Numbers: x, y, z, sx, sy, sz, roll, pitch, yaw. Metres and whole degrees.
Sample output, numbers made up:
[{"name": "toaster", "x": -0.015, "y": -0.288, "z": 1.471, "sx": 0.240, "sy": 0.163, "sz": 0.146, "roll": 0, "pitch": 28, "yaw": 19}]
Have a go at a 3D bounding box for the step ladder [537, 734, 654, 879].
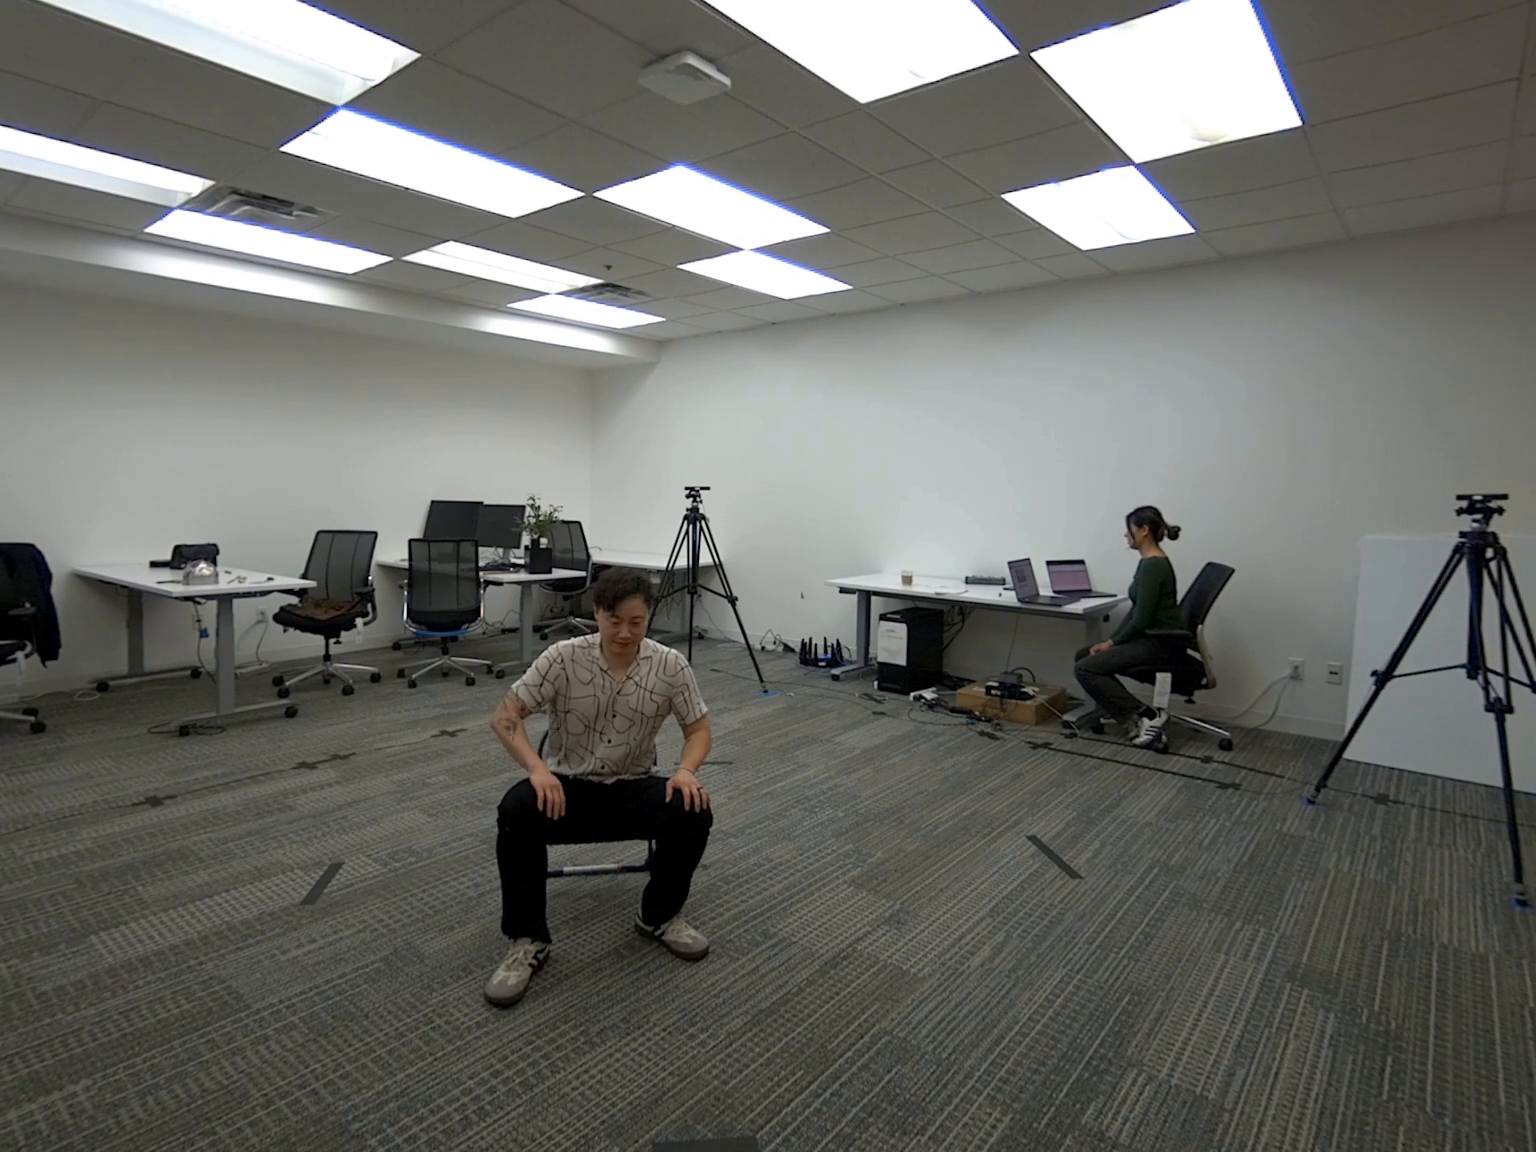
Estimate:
[{"name": "step ladder", "x": -0.586, "y": 0.781, "z": 2.888, "sx": 0.425, "sy": 0.604, "sz": 0.355, "roll": 0, "pitch": 3, "yaw": -13}]
